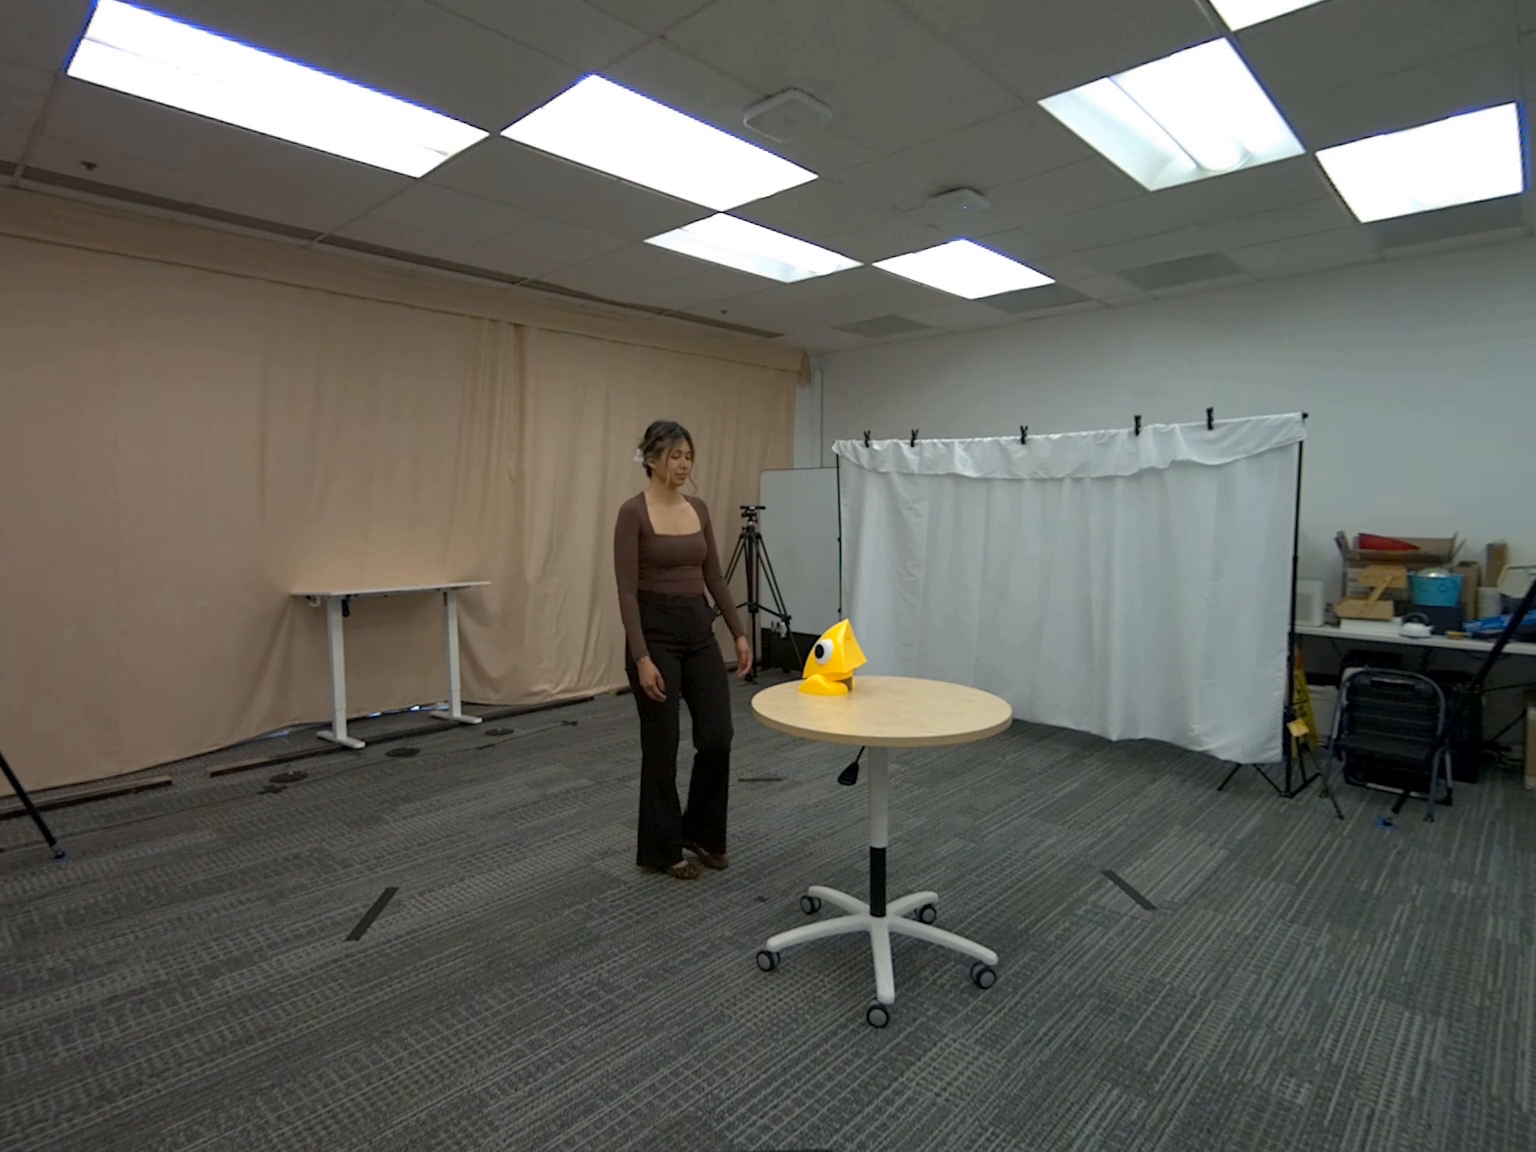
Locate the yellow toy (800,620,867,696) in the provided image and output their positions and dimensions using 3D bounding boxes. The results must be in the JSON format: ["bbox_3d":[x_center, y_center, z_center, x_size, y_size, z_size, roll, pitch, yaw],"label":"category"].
[{"bbox_3d":[0.206,0.253,2.736,0.198,0.230,0.200,2,5,26],"label":"yellow toy"}]
